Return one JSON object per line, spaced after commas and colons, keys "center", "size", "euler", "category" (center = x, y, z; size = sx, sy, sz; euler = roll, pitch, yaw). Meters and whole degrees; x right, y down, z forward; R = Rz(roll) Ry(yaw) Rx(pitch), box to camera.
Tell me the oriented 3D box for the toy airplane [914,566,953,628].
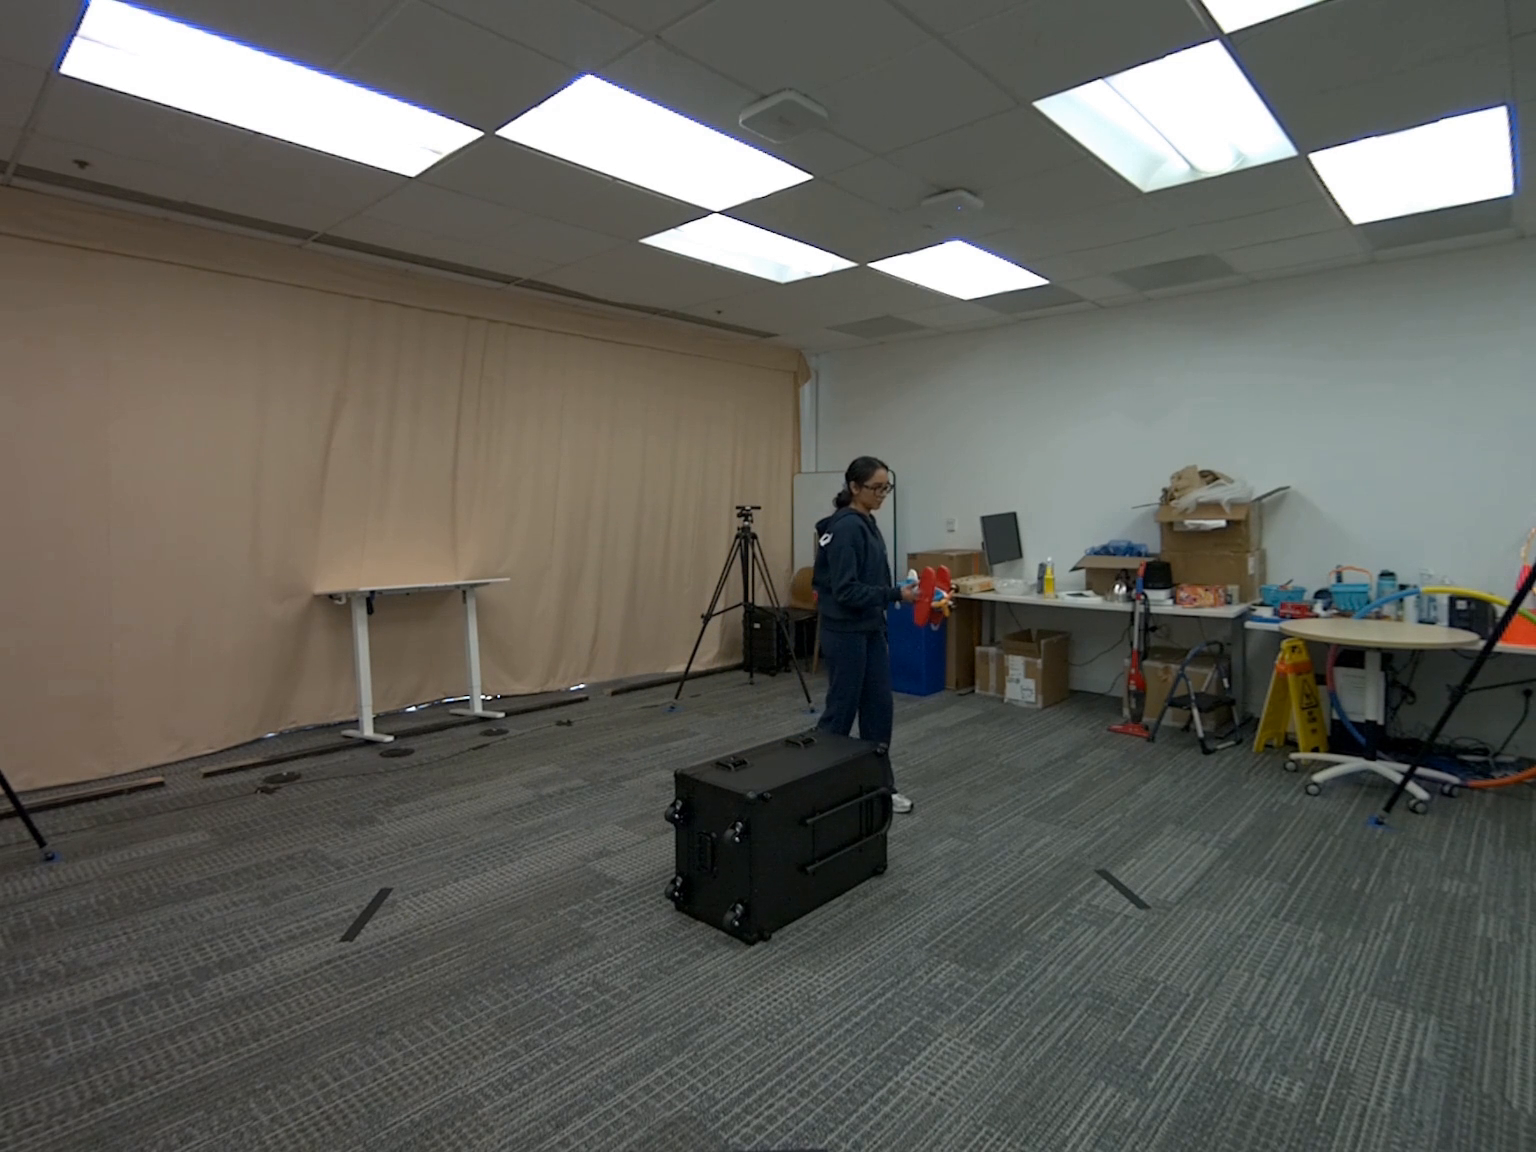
{"center": [0.679, 0.080, 3.557], "size": [0.152, 0.252, 0.266], "euler": [-8, -4, -41], "category": "toy airplane"}
